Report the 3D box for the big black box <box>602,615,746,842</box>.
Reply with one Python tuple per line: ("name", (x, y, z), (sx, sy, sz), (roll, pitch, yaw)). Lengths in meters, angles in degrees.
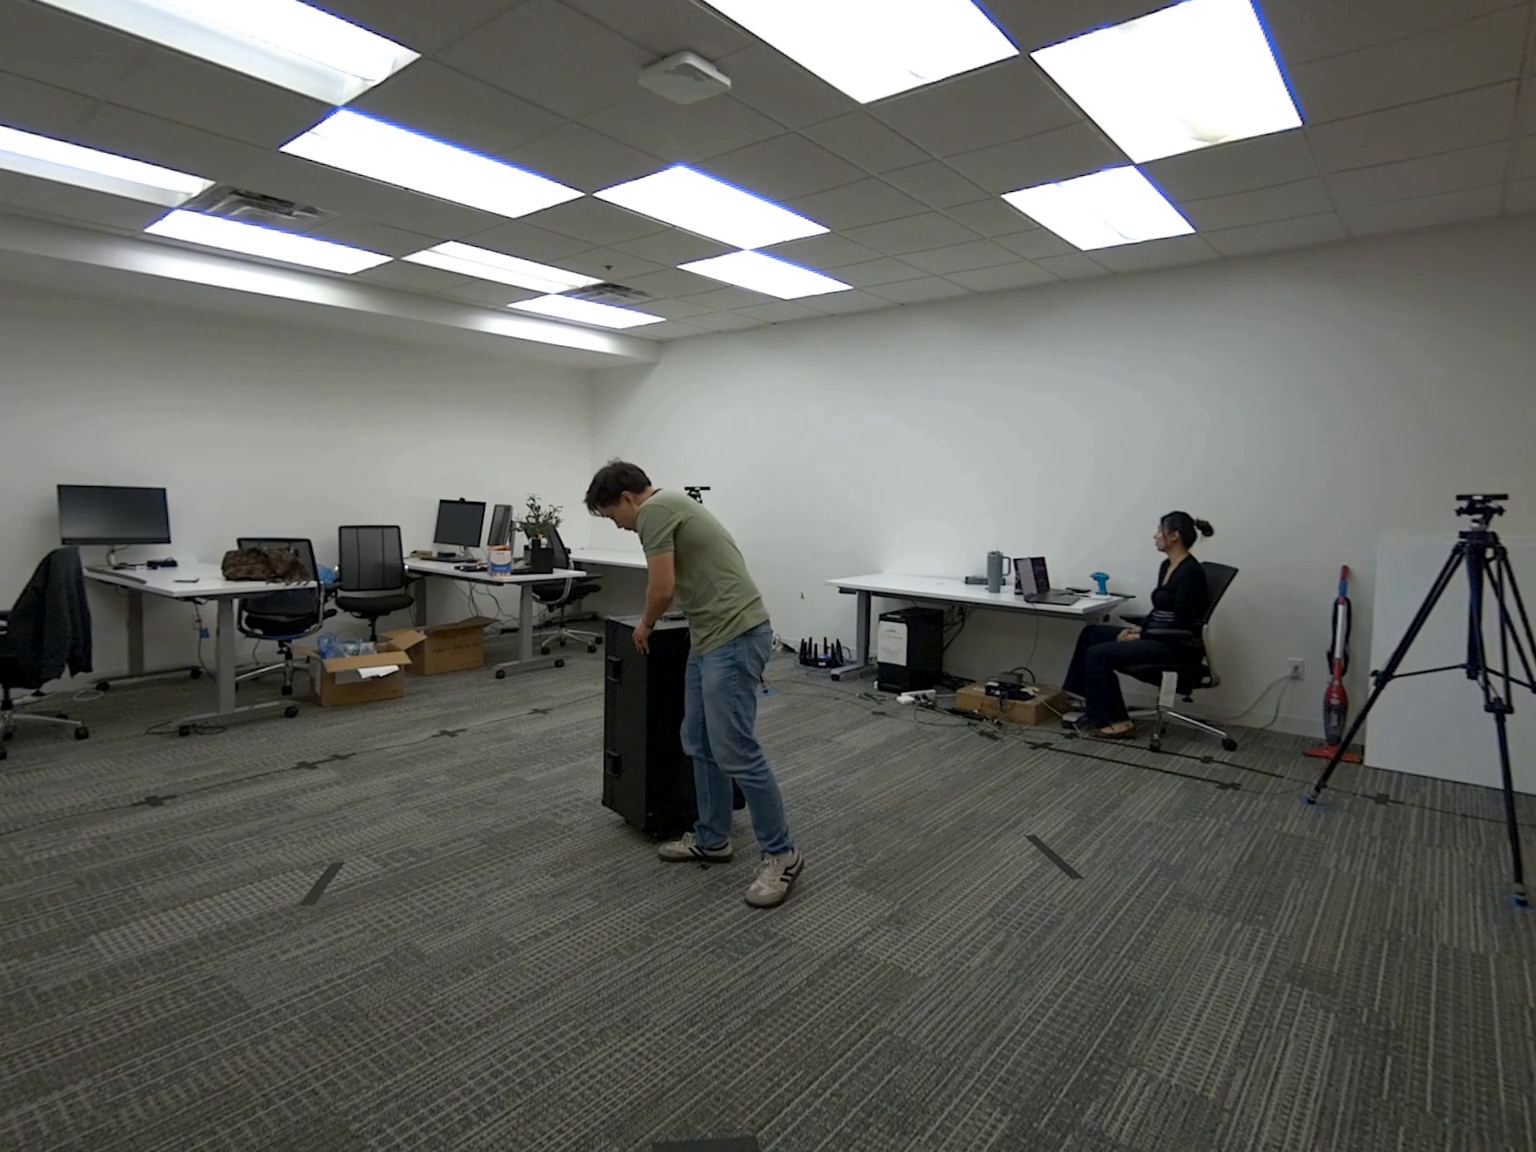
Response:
("big black box", (-0.385, 0.599, 3.497), (0.506, 0.858, 0.409), (-1, 5, -36))
